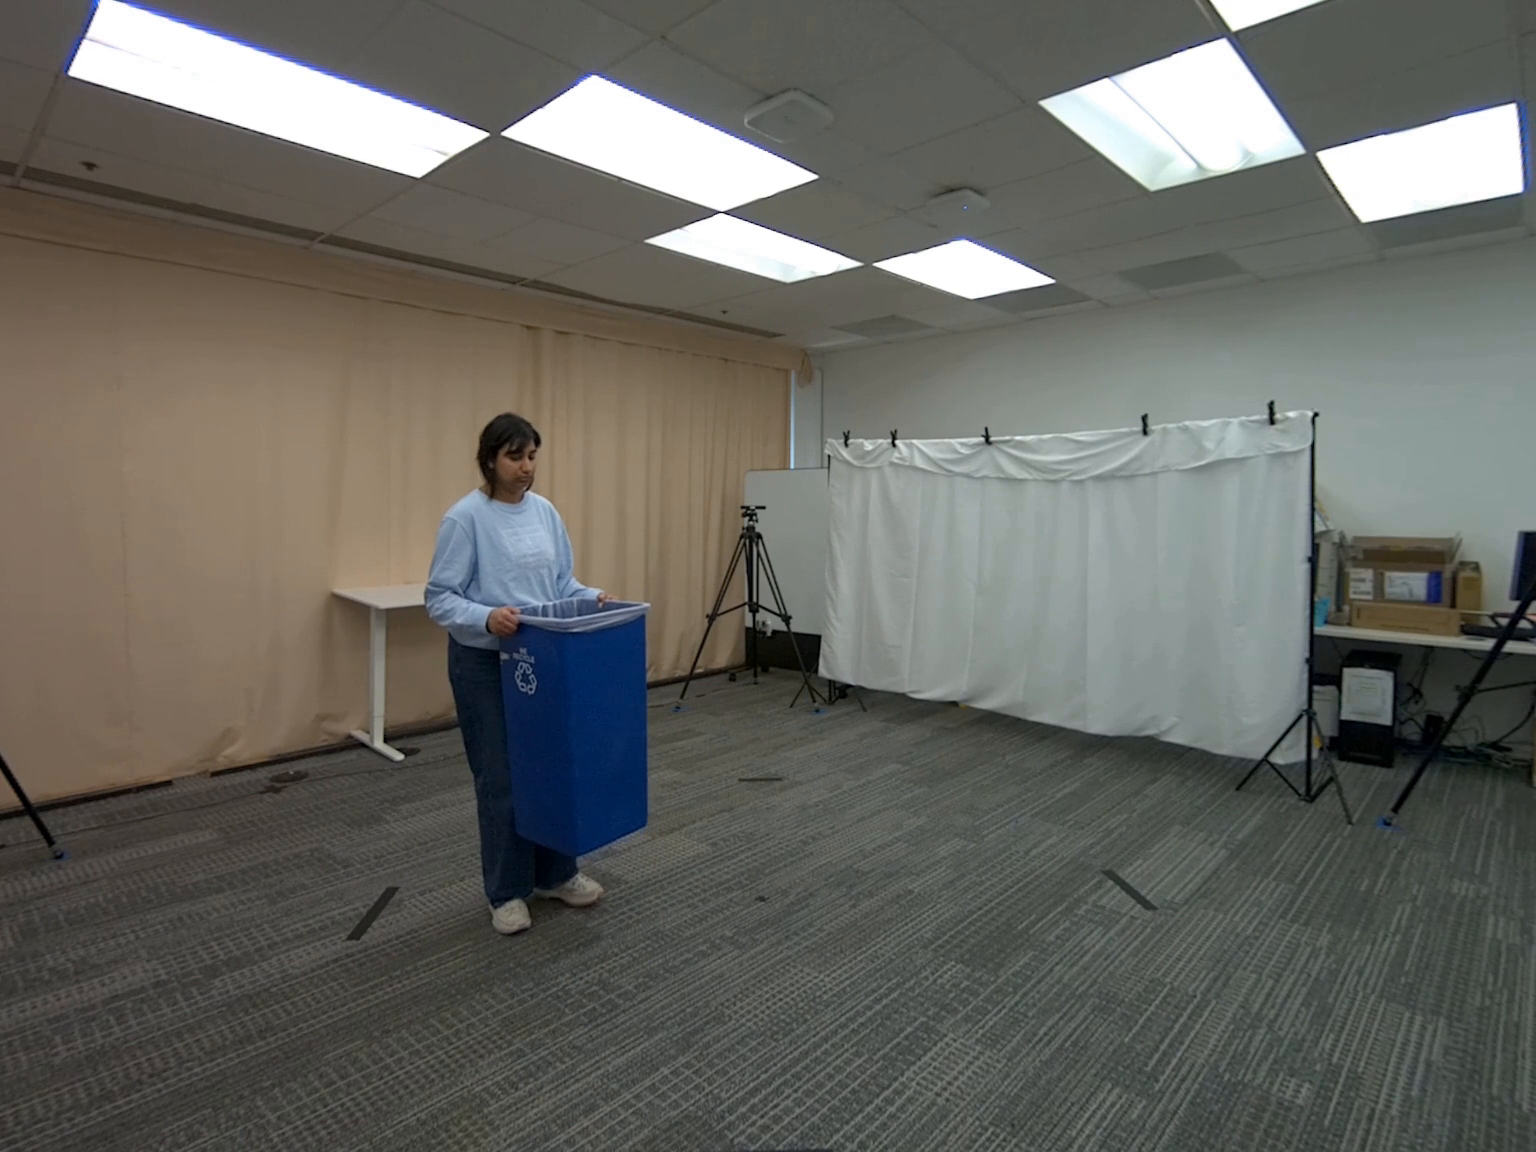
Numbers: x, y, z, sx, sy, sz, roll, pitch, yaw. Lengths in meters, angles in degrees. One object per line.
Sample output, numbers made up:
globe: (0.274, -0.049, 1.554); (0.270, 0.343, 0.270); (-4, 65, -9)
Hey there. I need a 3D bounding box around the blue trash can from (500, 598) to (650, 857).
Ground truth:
blue trash can: (-0.589, 0.459, 2.634); (0.386, 0.711, 0.367); (2, 5, 39)
